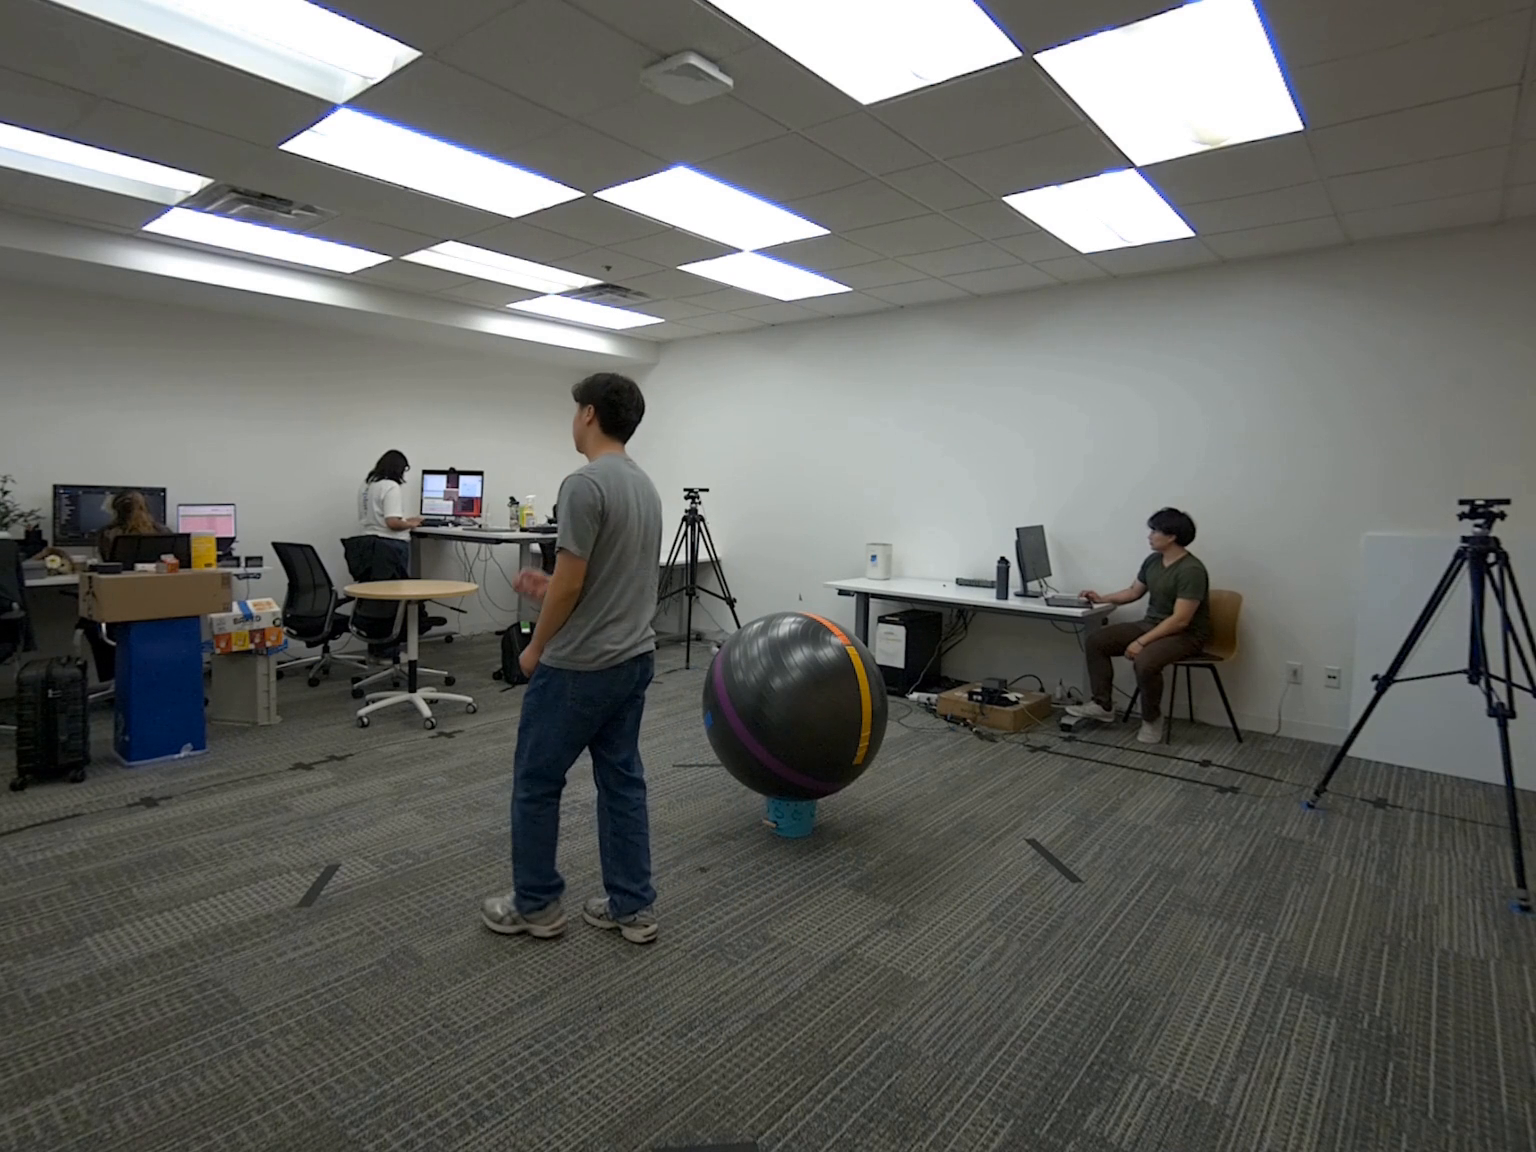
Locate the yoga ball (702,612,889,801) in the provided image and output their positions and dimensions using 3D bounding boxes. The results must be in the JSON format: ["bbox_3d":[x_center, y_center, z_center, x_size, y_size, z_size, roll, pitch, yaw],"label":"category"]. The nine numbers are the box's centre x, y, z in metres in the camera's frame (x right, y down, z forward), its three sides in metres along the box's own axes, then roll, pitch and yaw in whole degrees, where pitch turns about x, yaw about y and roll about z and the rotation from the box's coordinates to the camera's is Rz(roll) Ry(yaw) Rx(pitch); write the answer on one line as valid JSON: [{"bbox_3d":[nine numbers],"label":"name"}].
[{"bbox_3d":[0.104,0.526,3.493,0.757,0.756,0.761,1,4,-2],"label":"yoga ball"}]
